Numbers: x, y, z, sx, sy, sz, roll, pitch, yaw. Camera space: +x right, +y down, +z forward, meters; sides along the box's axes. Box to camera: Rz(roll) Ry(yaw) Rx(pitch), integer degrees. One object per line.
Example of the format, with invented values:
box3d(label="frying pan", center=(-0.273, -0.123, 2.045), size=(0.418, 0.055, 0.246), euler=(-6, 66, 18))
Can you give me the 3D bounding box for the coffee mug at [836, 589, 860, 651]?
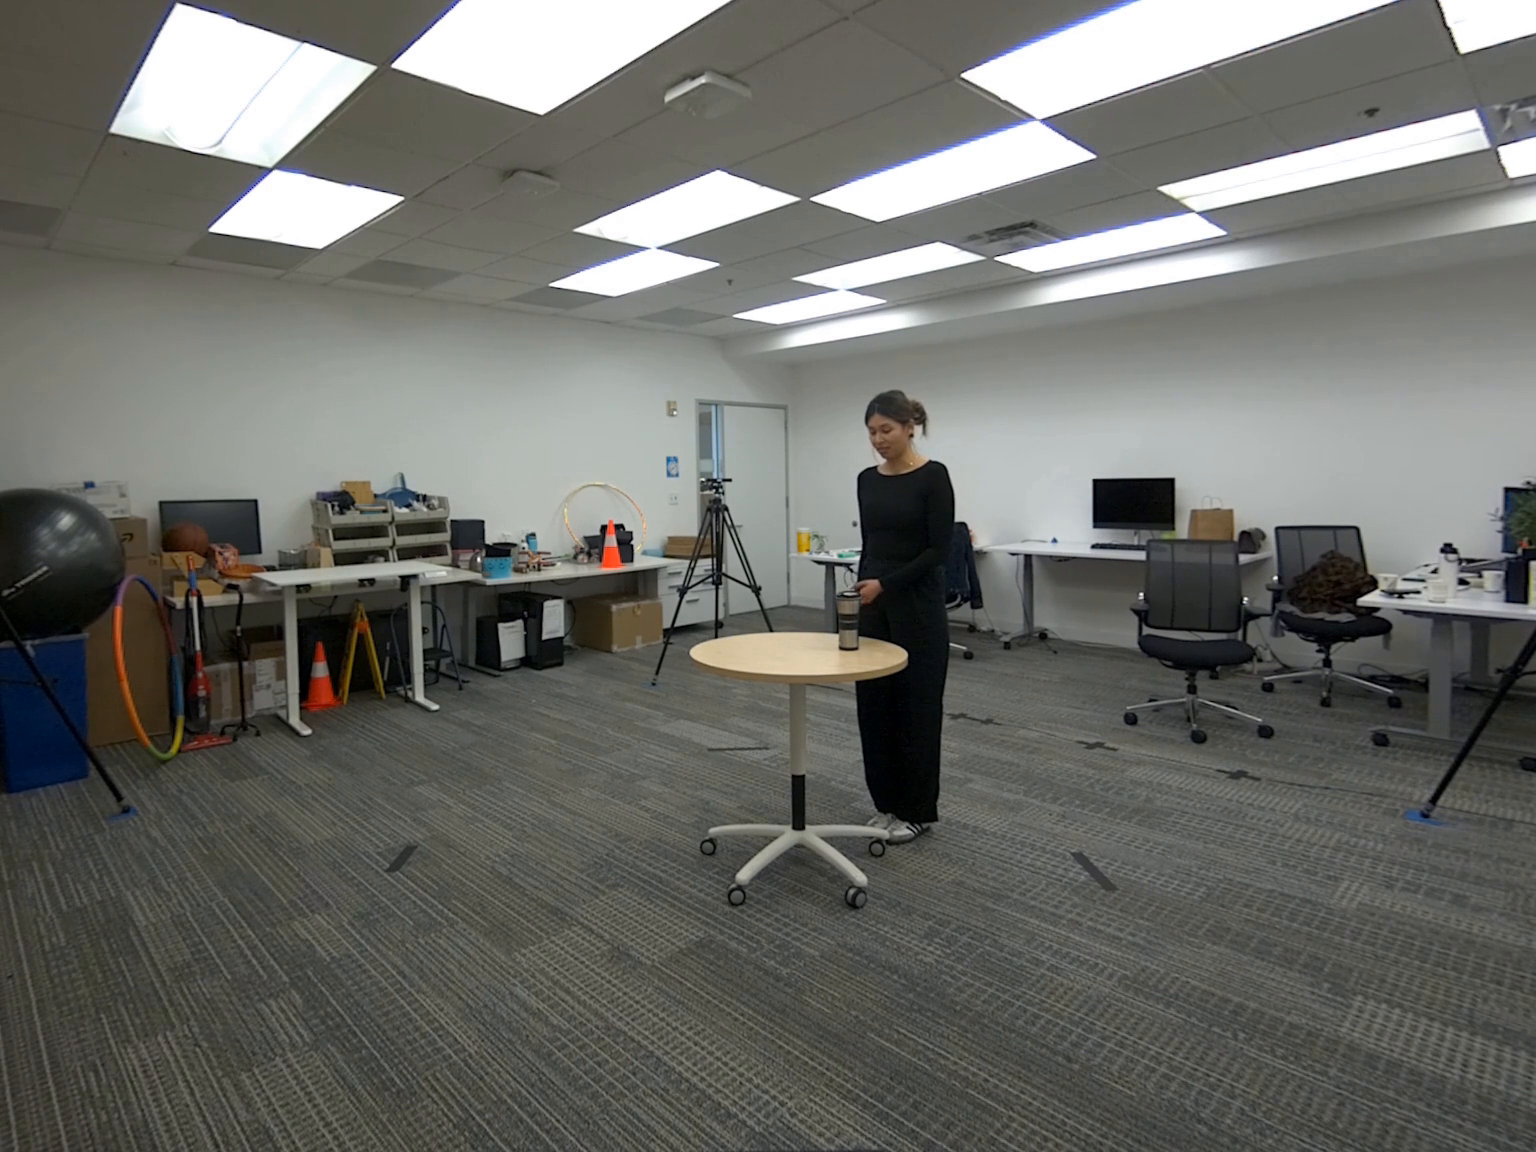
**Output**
box3d(label="coffee mug", center=(0.305, 0.162, 3.067), size=(0.090, 0.203, 0.119), euler=(-2, 3, 44))
